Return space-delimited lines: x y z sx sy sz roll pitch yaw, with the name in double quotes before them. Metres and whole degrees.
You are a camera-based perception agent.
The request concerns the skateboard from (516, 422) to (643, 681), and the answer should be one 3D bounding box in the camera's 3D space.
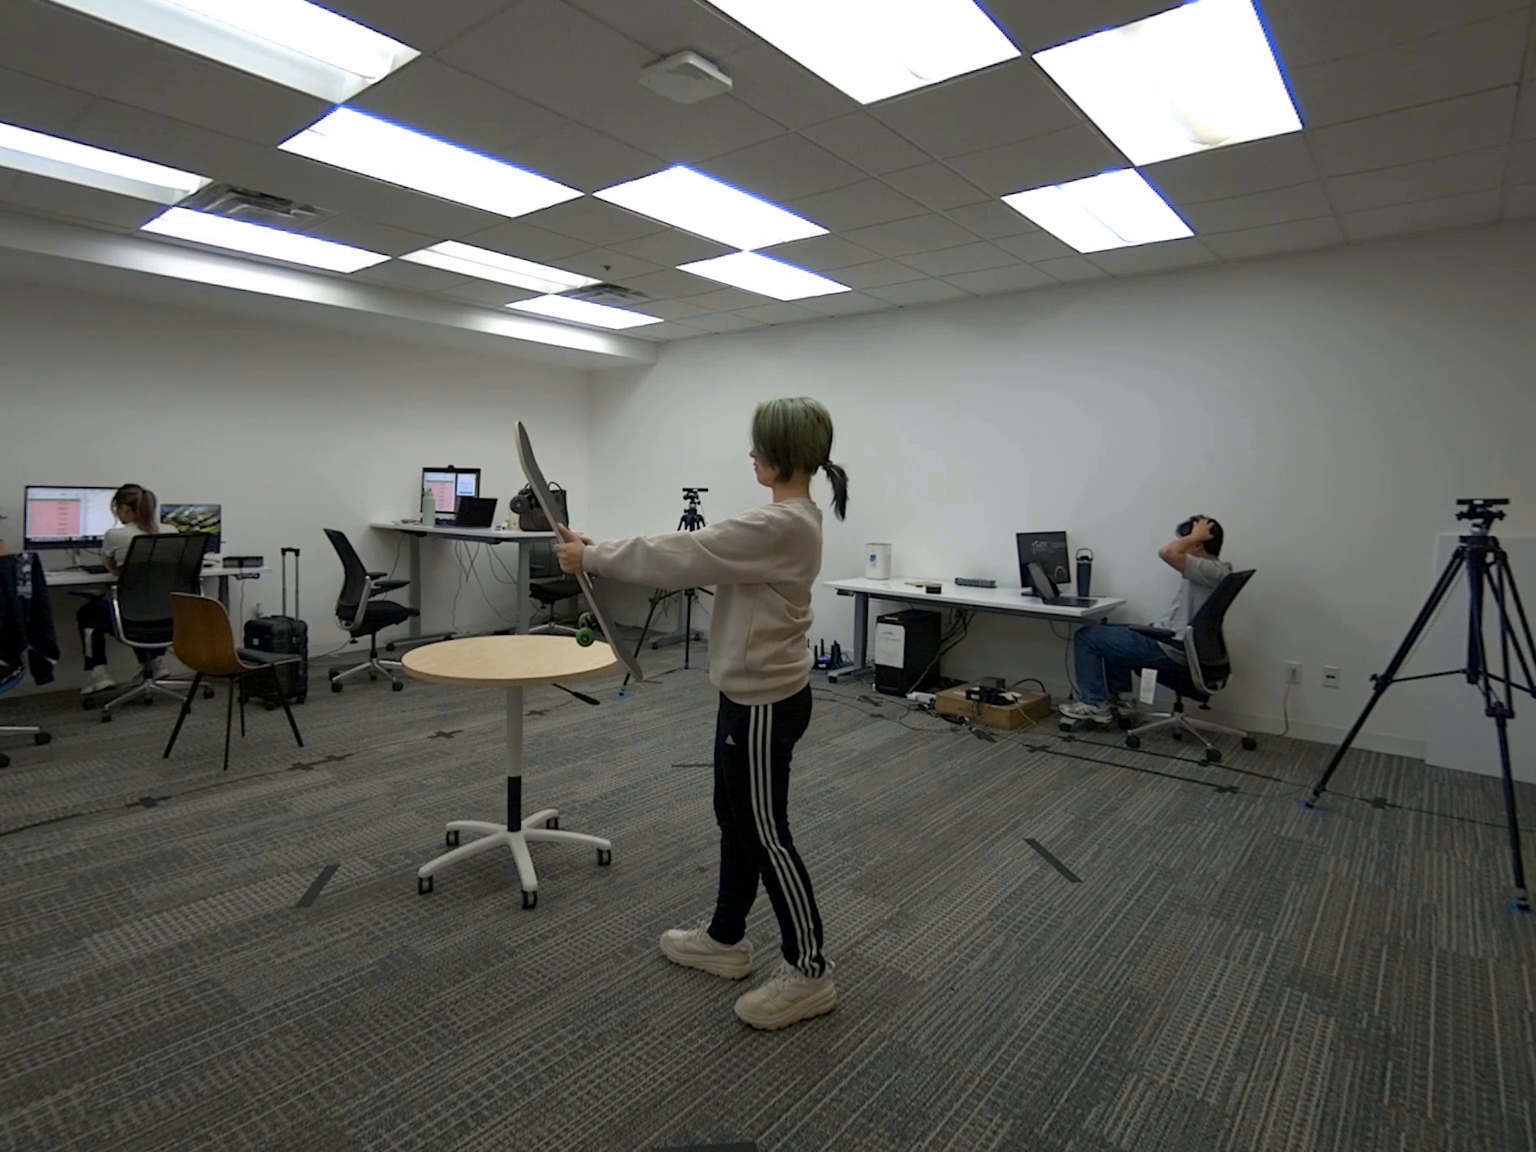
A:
"skateboard" -0.566 -0.040 2.330 0.110 0.773 0.196 -23 12 -1
